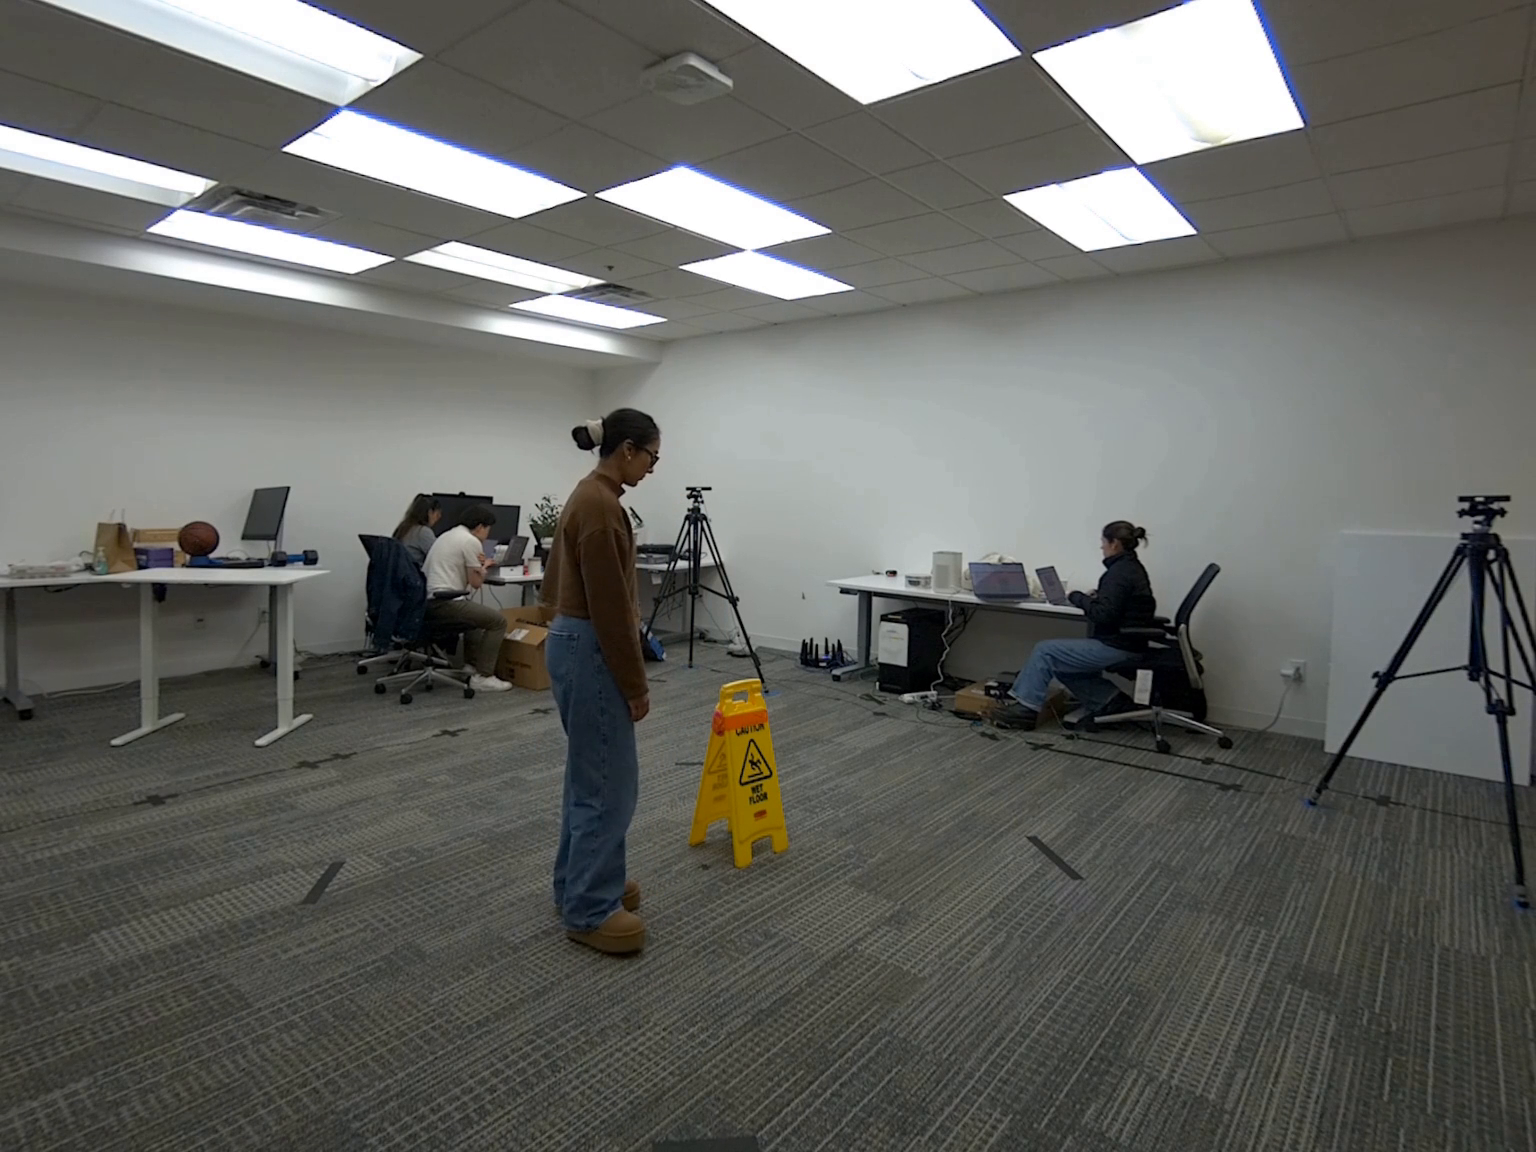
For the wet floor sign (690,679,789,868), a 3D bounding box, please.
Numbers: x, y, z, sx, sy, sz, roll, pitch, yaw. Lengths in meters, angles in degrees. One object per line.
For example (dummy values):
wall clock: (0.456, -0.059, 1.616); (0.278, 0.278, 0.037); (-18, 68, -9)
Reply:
wet floor sign: (-0.114, 0.726, 3.284); (0.273, 0.644, 0.300); (-2, 5, -45)
